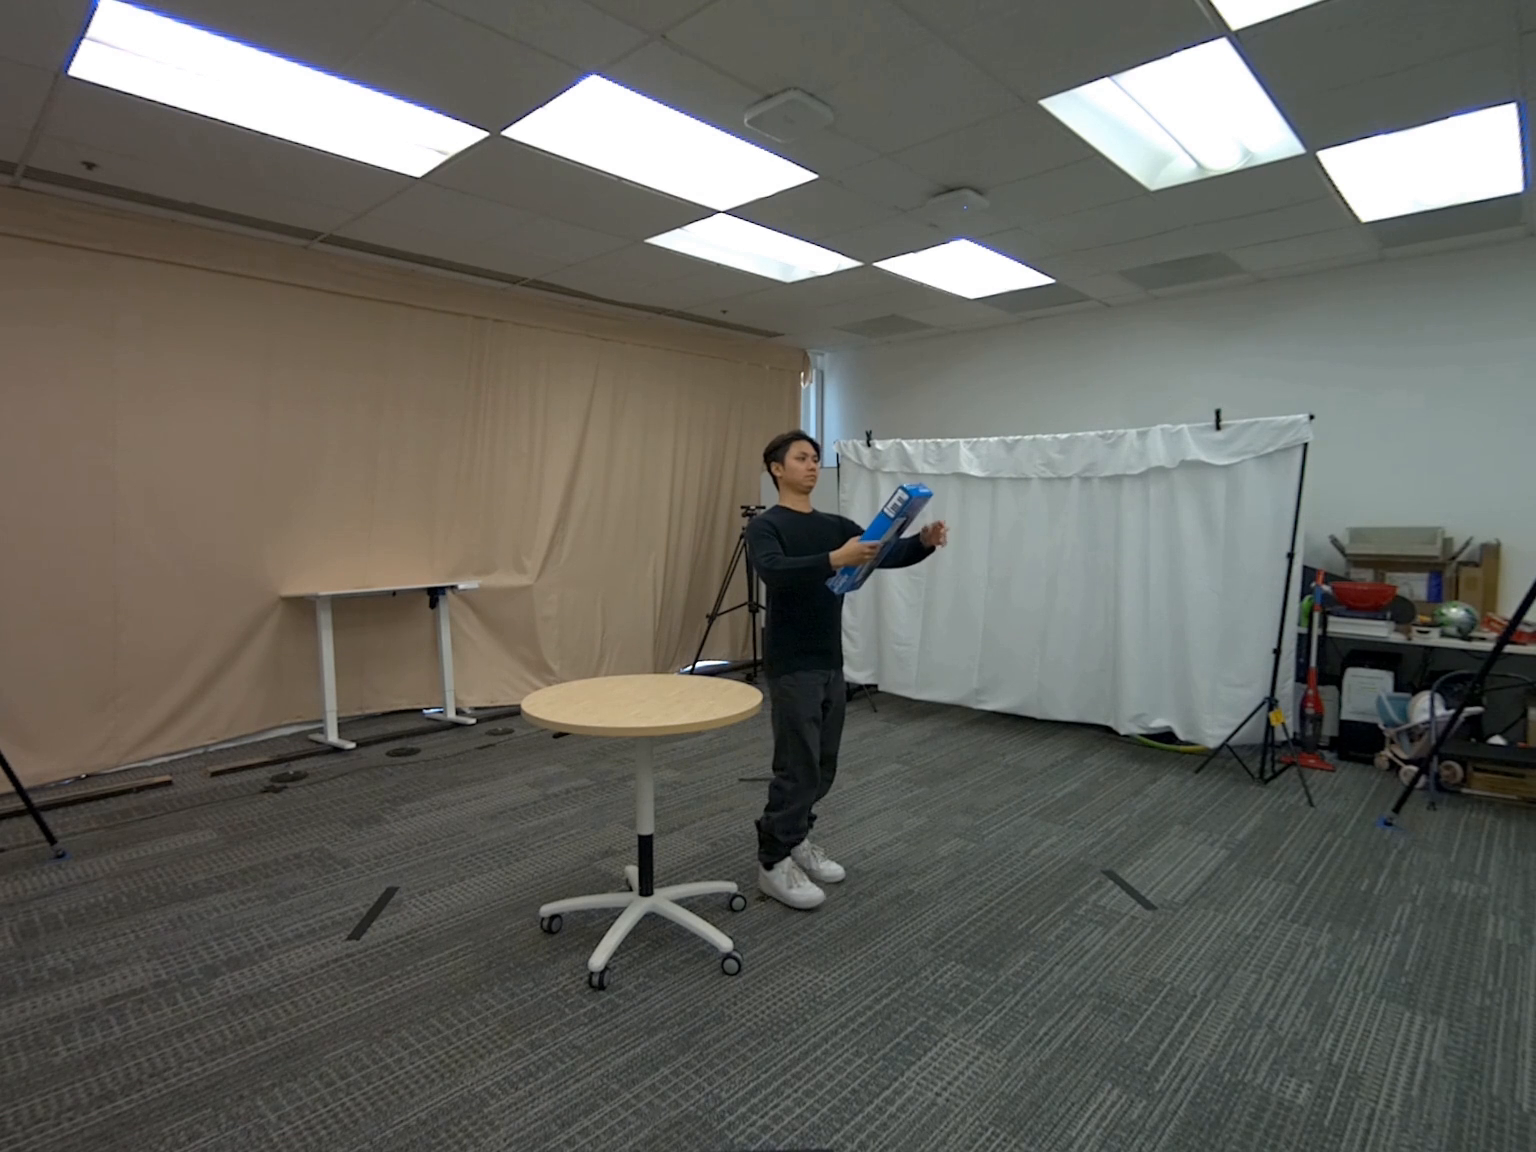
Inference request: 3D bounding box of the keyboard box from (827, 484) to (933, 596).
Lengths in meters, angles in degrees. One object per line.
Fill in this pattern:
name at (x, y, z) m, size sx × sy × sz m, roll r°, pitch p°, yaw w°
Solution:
keyboard box at (0.378, -0.123, 2.834) m, size 0.060 × 0.438 × 0.171 m, roll 46°, pitch 28°, yaw 21°
